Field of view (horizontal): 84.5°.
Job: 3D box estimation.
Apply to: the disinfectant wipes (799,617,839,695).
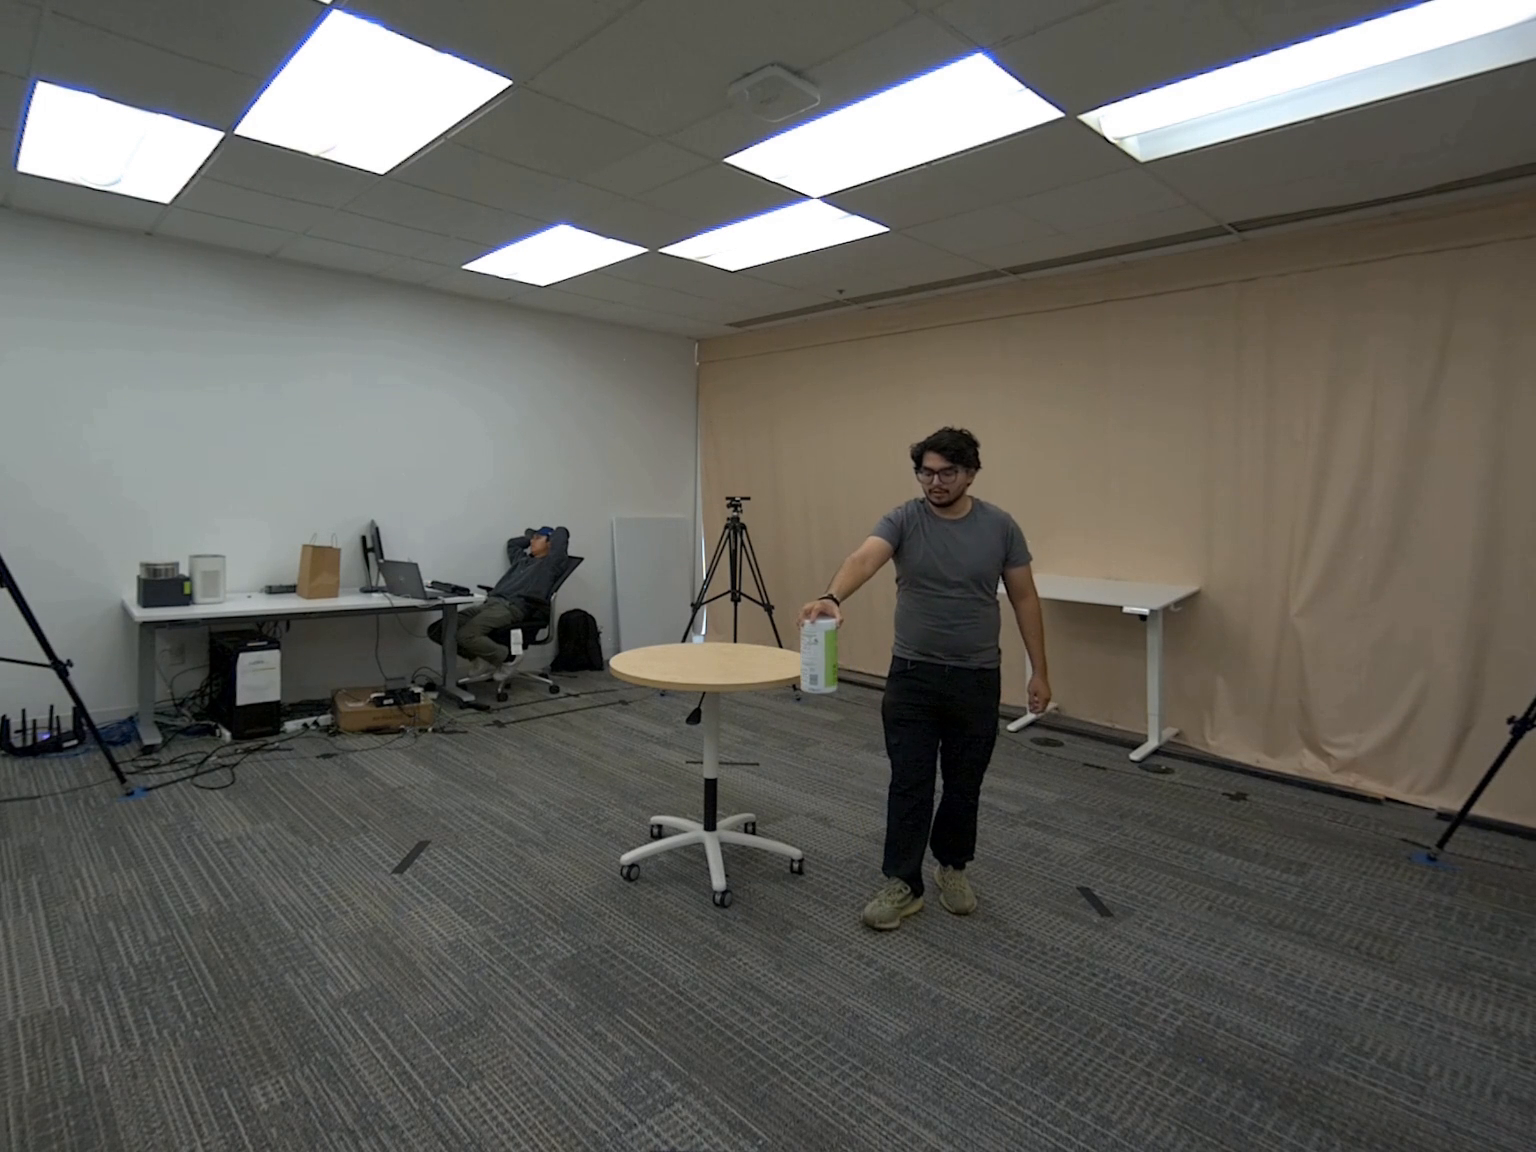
[{"bbox_3d":[0.147,0.234,2.460,0.118,0.216,0.118,-1,5,-1],"label":"disinfectant wipes"}]
